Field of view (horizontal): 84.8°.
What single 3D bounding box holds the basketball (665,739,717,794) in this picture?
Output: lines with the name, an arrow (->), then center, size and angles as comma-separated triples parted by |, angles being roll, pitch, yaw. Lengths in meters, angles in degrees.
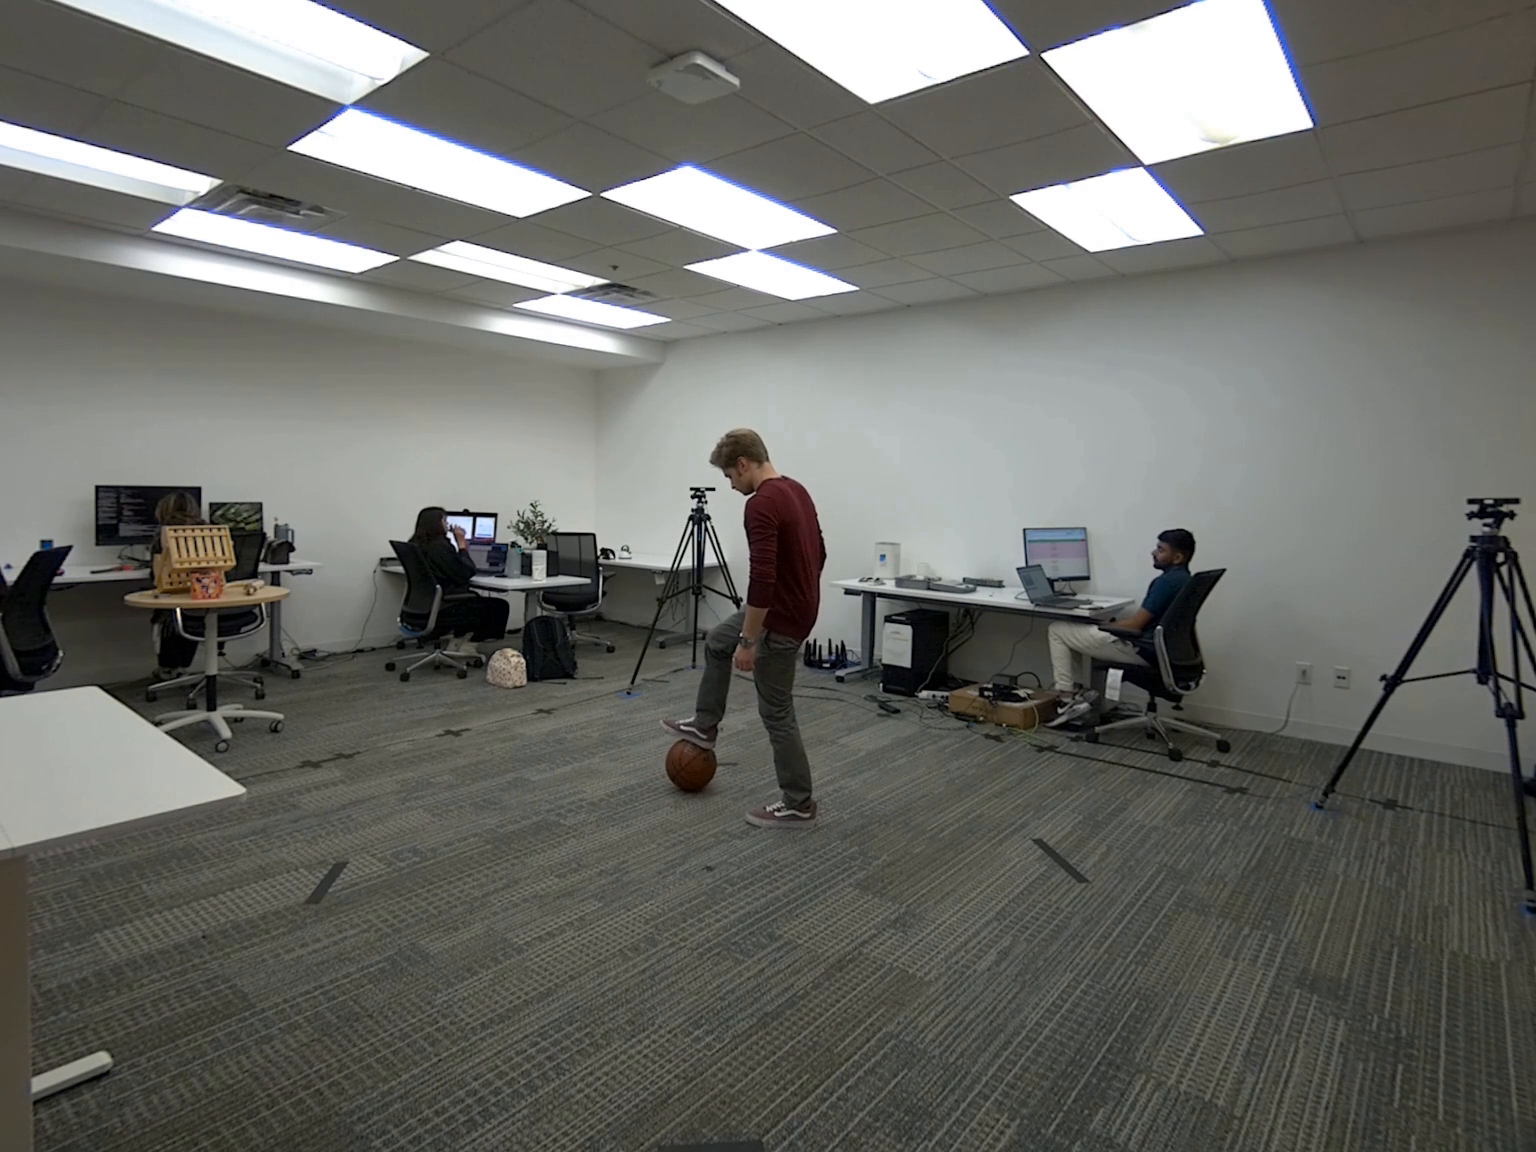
basketball -> -0.365, 0.868, 3.942 | 0.235, 0.235, 0.237 | 1, 4, -2
